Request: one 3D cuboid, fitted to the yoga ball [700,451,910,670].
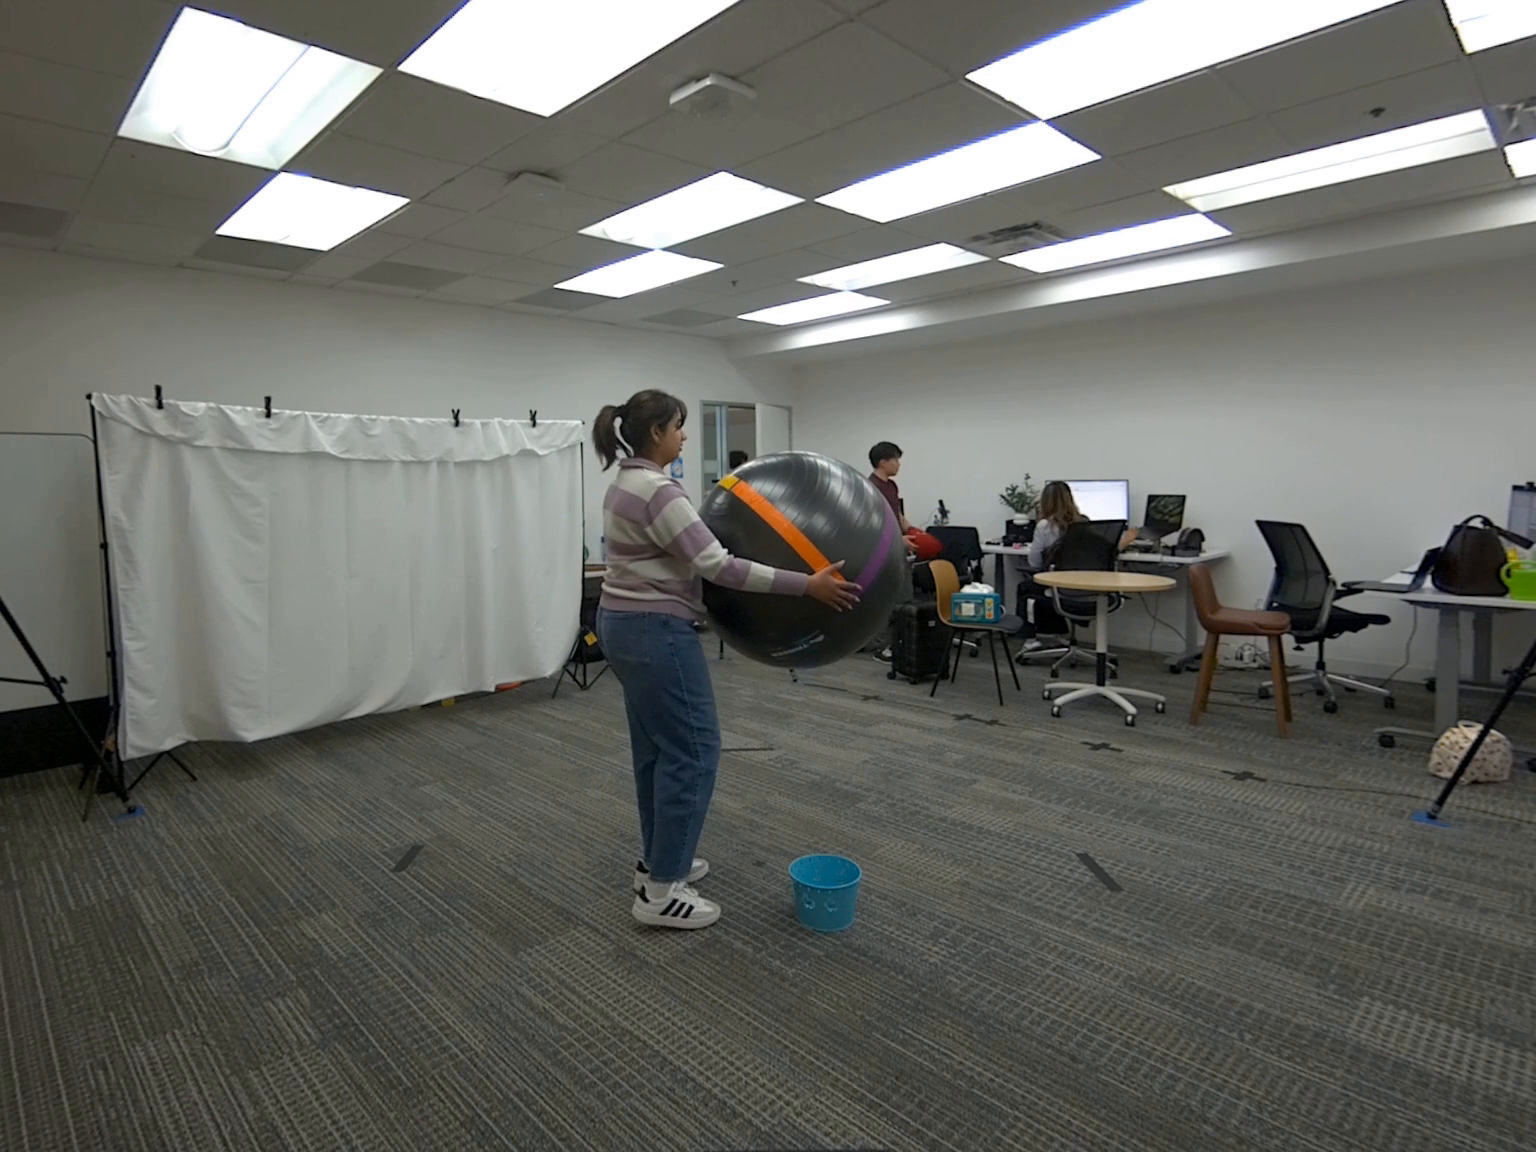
[{"bbox_3d":[0.104,-0.053,2.984,0.757,0.755,0.762,-1,5,-2],"label":"yoga ball"}]
